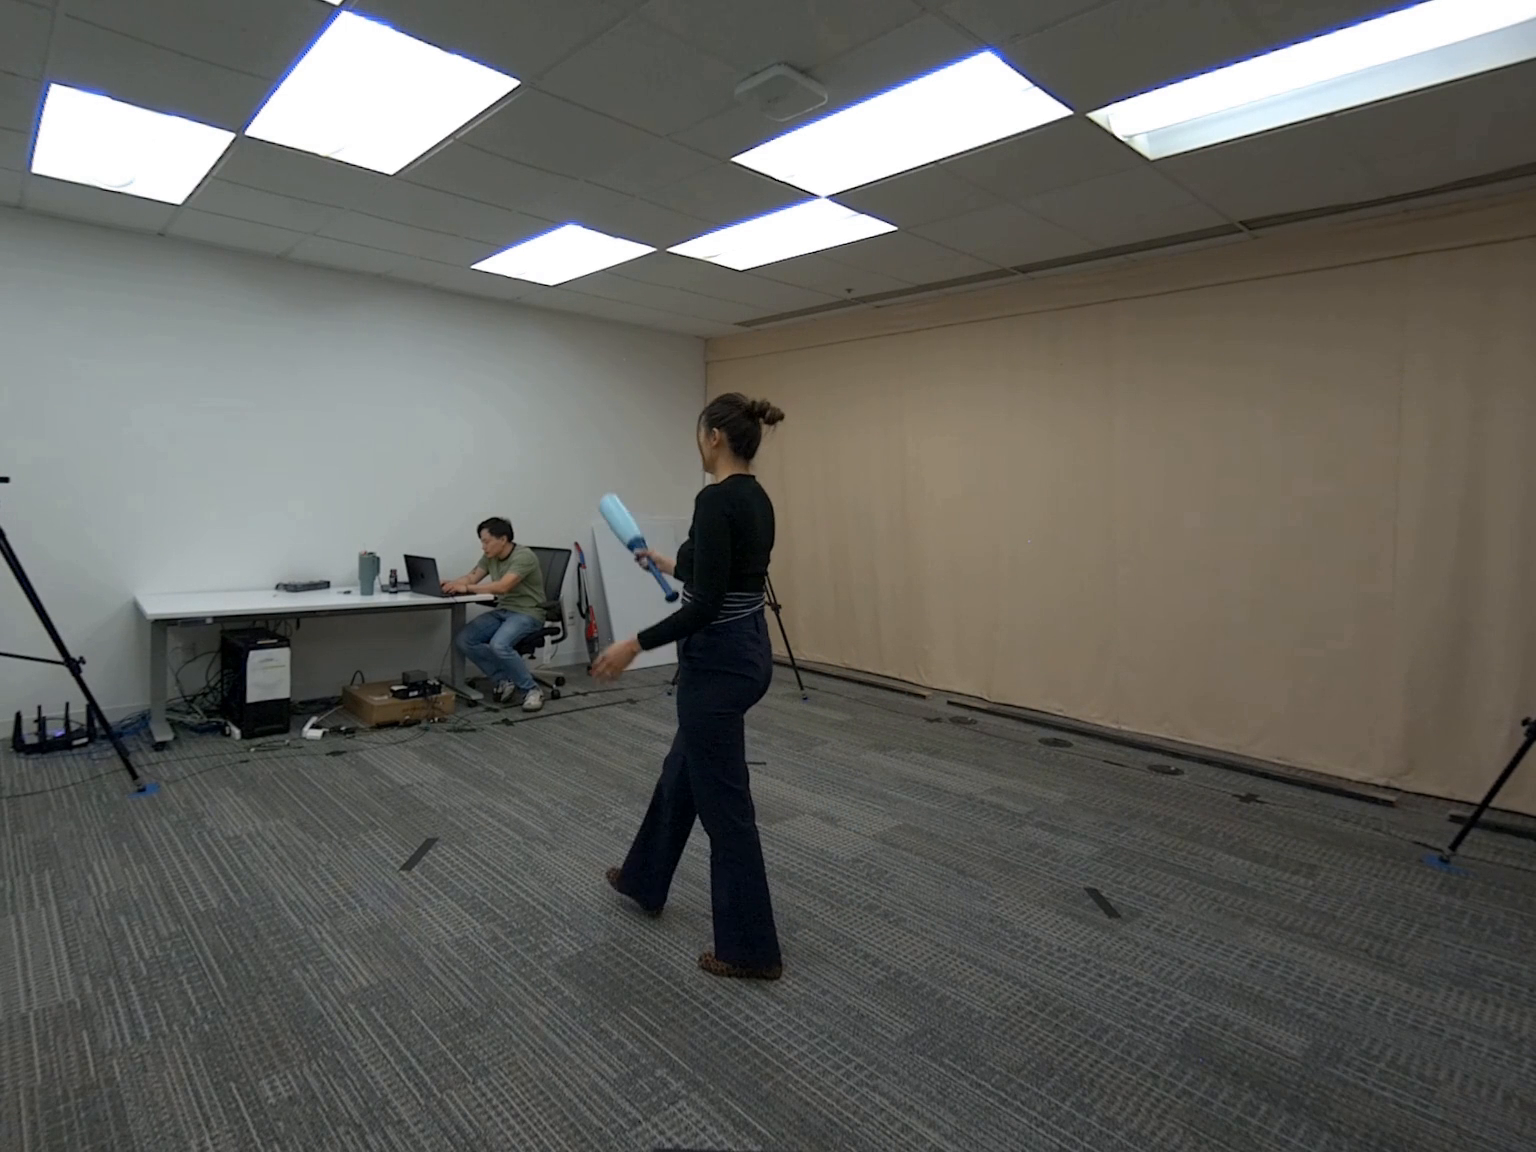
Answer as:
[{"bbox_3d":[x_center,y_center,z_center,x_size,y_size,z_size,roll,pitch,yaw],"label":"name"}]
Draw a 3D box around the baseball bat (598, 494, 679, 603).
[{"bbox_3d":[-0.440,-0.076,2.935,0.087,0.088,0.560,-2,41,-40],"label":"baseball bat"}]
